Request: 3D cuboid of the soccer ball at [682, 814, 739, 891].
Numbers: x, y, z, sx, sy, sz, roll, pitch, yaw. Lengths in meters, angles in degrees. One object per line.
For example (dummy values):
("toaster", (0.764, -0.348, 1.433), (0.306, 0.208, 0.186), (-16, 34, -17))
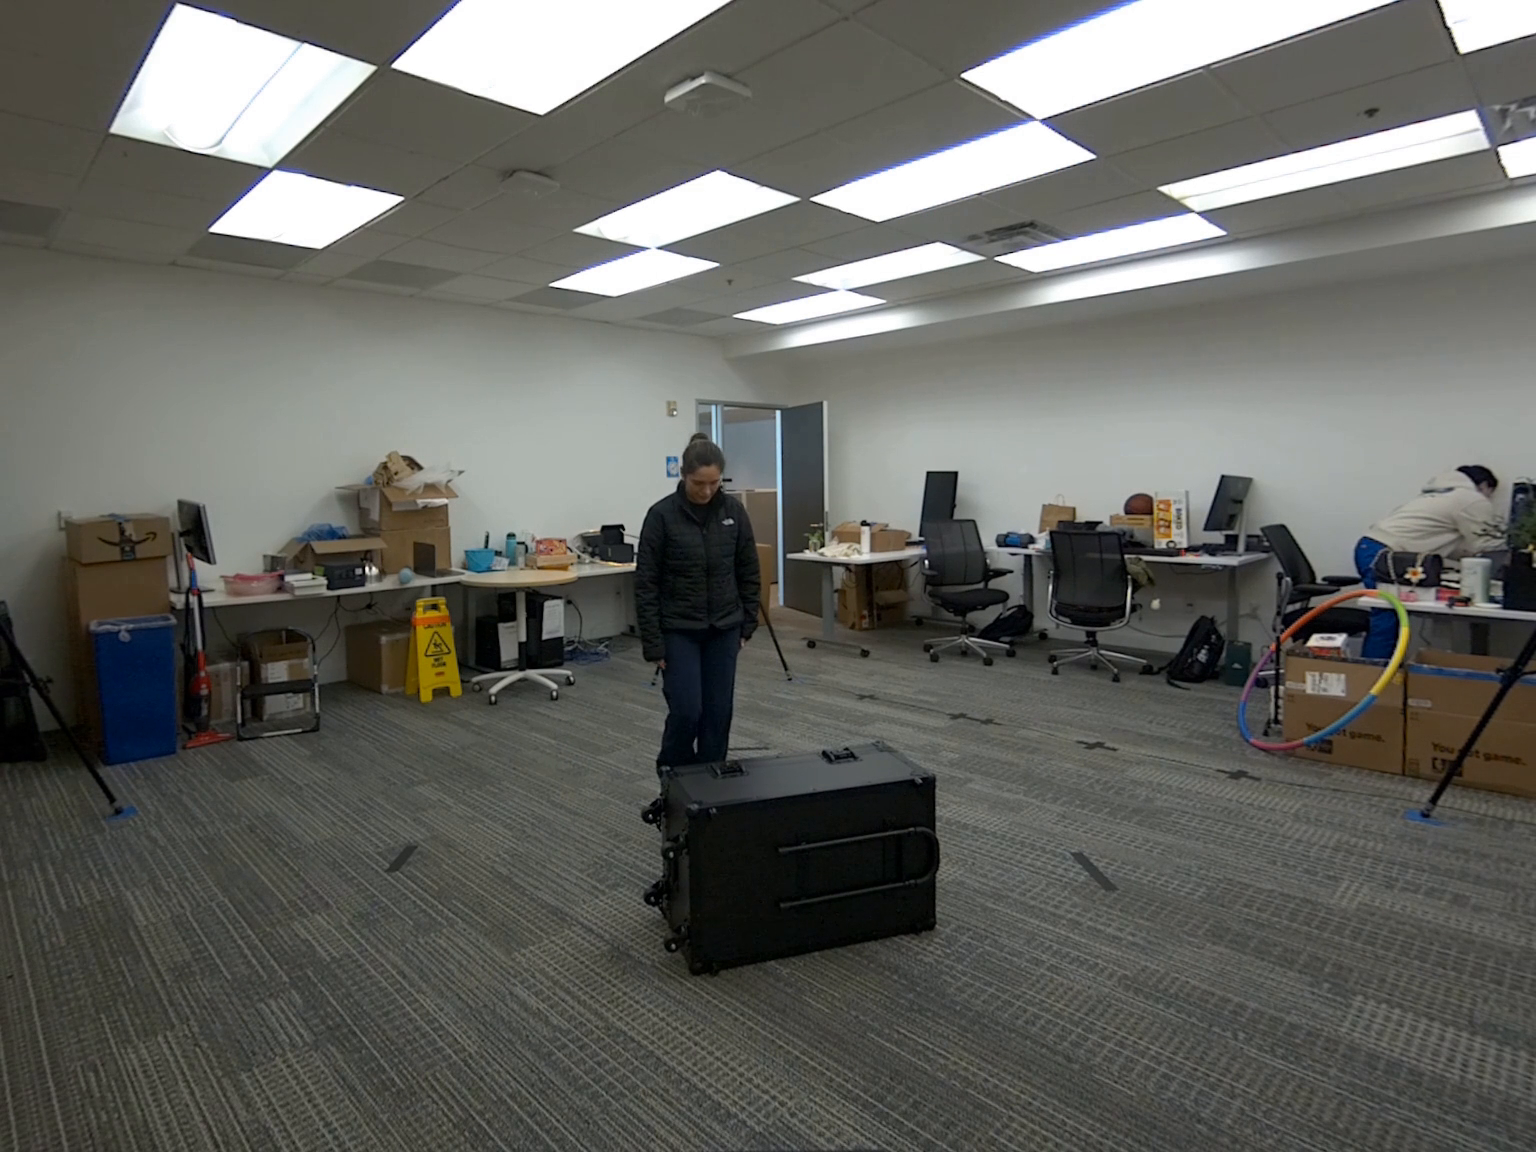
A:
("soccer ball", (-0.203, 0.971, 3.026), (0.187, 0.187, 0.188), (-1, 5, -2))
